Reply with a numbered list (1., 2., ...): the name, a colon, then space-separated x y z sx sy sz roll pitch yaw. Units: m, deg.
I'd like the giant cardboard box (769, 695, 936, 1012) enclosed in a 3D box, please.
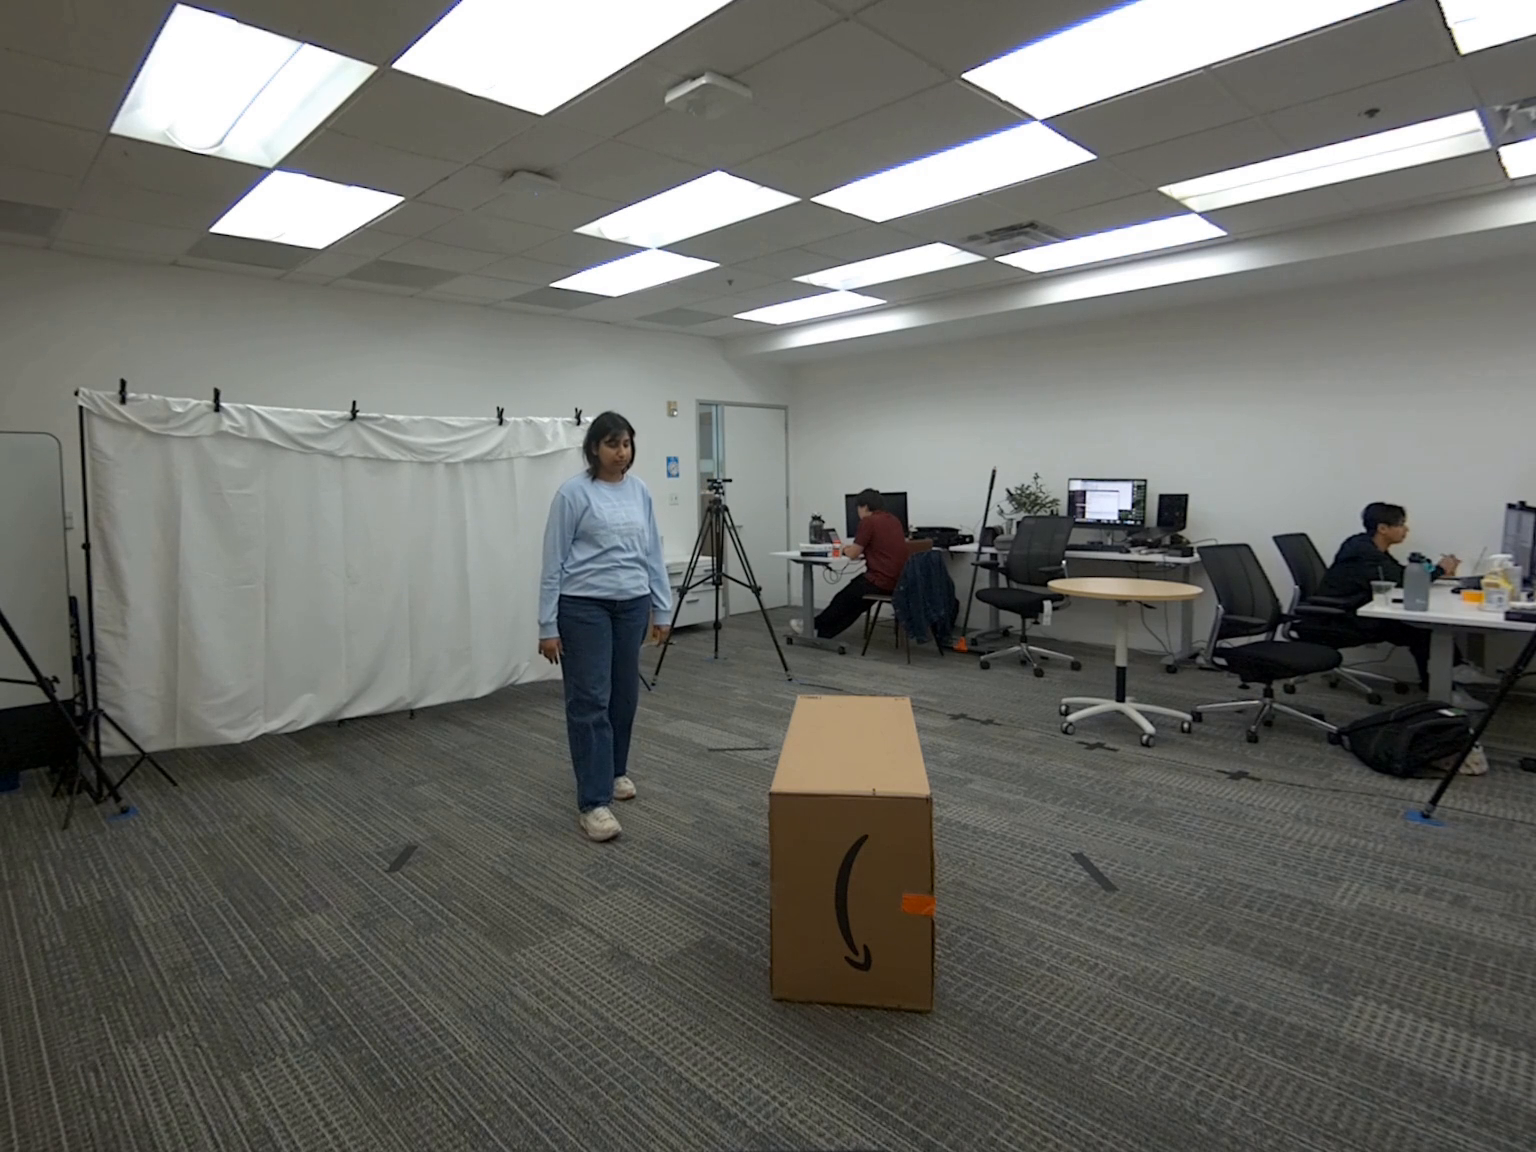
1. giant cardboard box: 0.275 0.789 2.733 0.429 0.575 1.022 0 6 7
